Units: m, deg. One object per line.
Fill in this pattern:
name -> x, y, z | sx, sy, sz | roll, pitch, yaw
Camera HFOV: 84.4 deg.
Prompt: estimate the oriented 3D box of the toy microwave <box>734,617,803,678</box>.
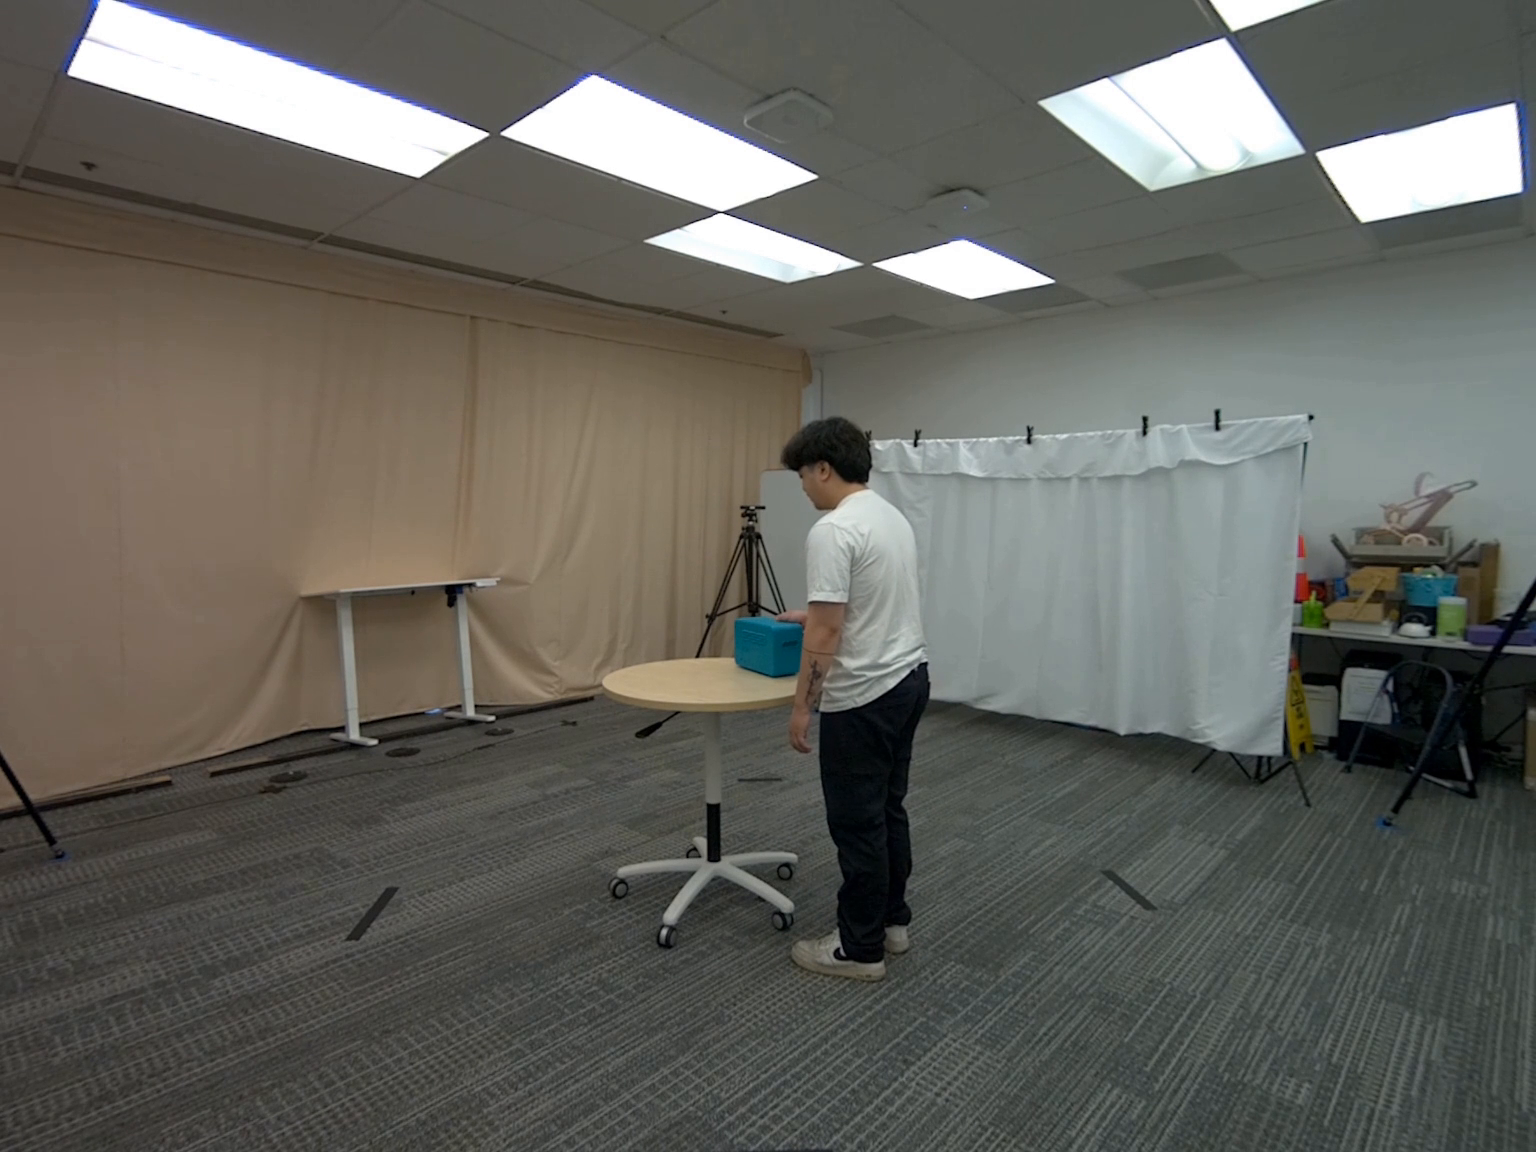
toy microwave -> 0.009, 0.252, 3.057 | 0.148, 0.184, 0.294 | -3, 5, -30
